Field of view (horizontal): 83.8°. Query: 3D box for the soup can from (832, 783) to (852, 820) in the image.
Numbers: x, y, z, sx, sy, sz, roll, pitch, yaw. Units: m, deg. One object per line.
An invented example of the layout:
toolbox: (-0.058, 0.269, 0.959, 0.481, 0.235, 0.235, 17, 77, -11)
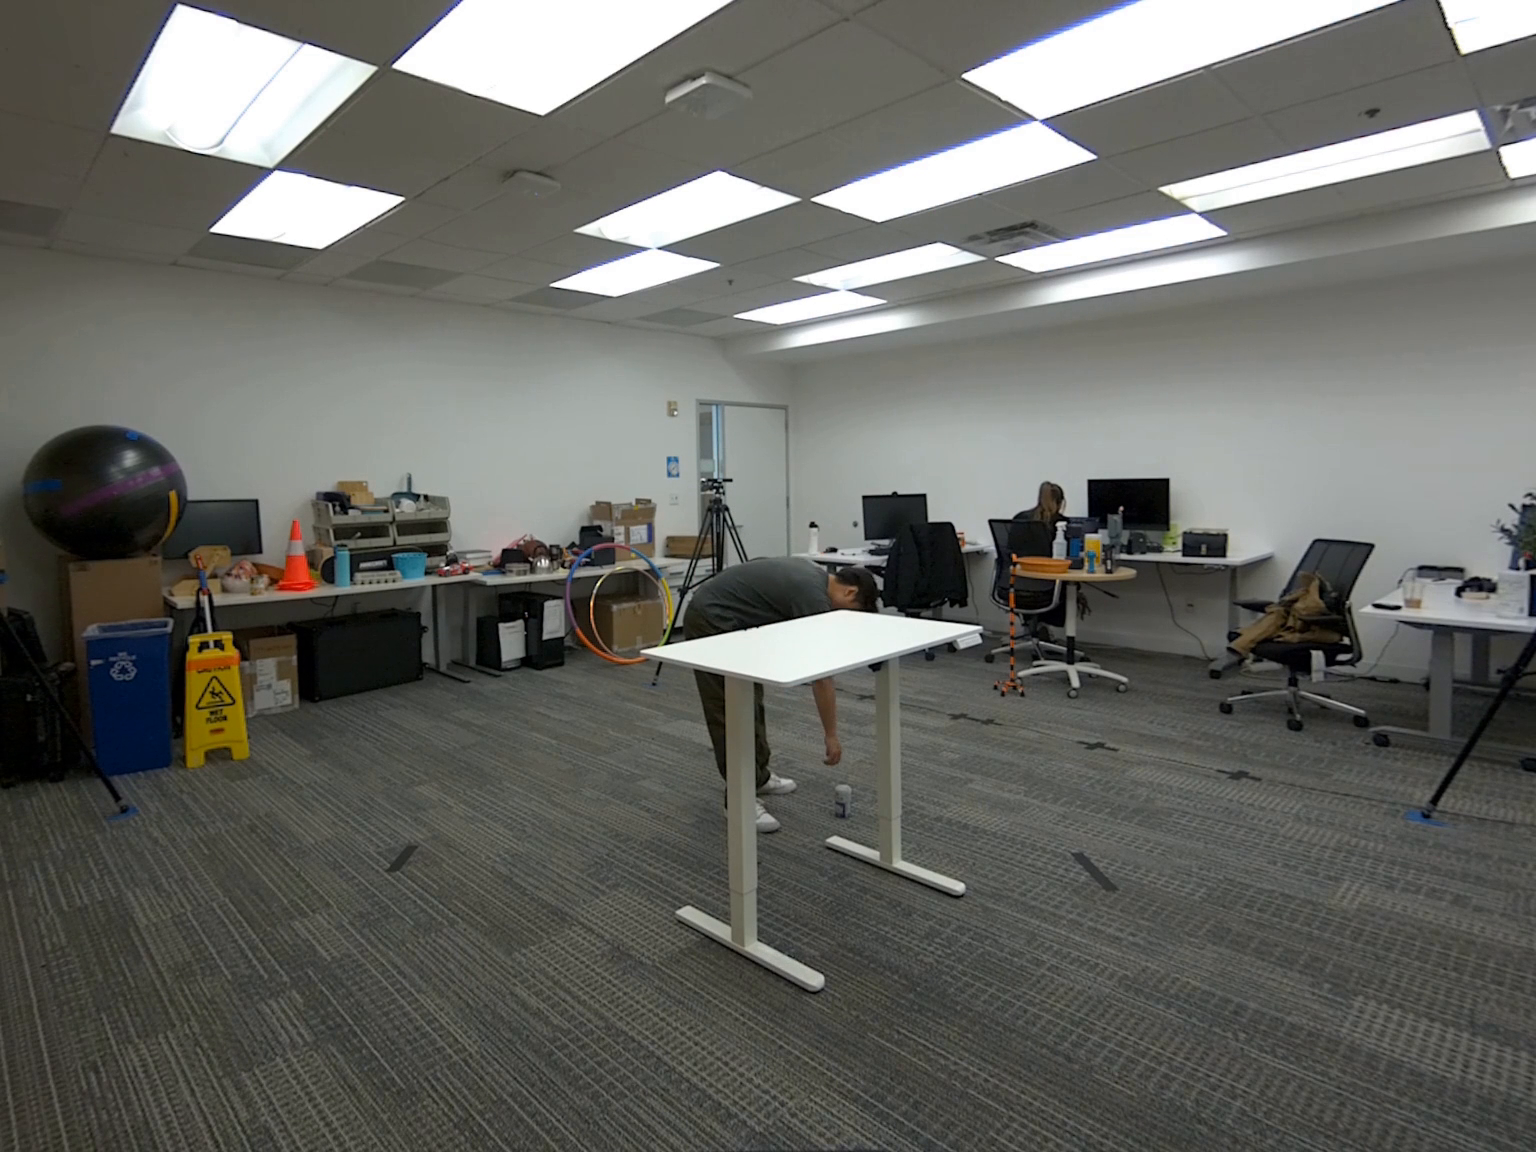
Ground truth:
soup can: (0.308, 0.925, 3.521, 0.067, 0.121, 0.067, 1, 5, -2)
